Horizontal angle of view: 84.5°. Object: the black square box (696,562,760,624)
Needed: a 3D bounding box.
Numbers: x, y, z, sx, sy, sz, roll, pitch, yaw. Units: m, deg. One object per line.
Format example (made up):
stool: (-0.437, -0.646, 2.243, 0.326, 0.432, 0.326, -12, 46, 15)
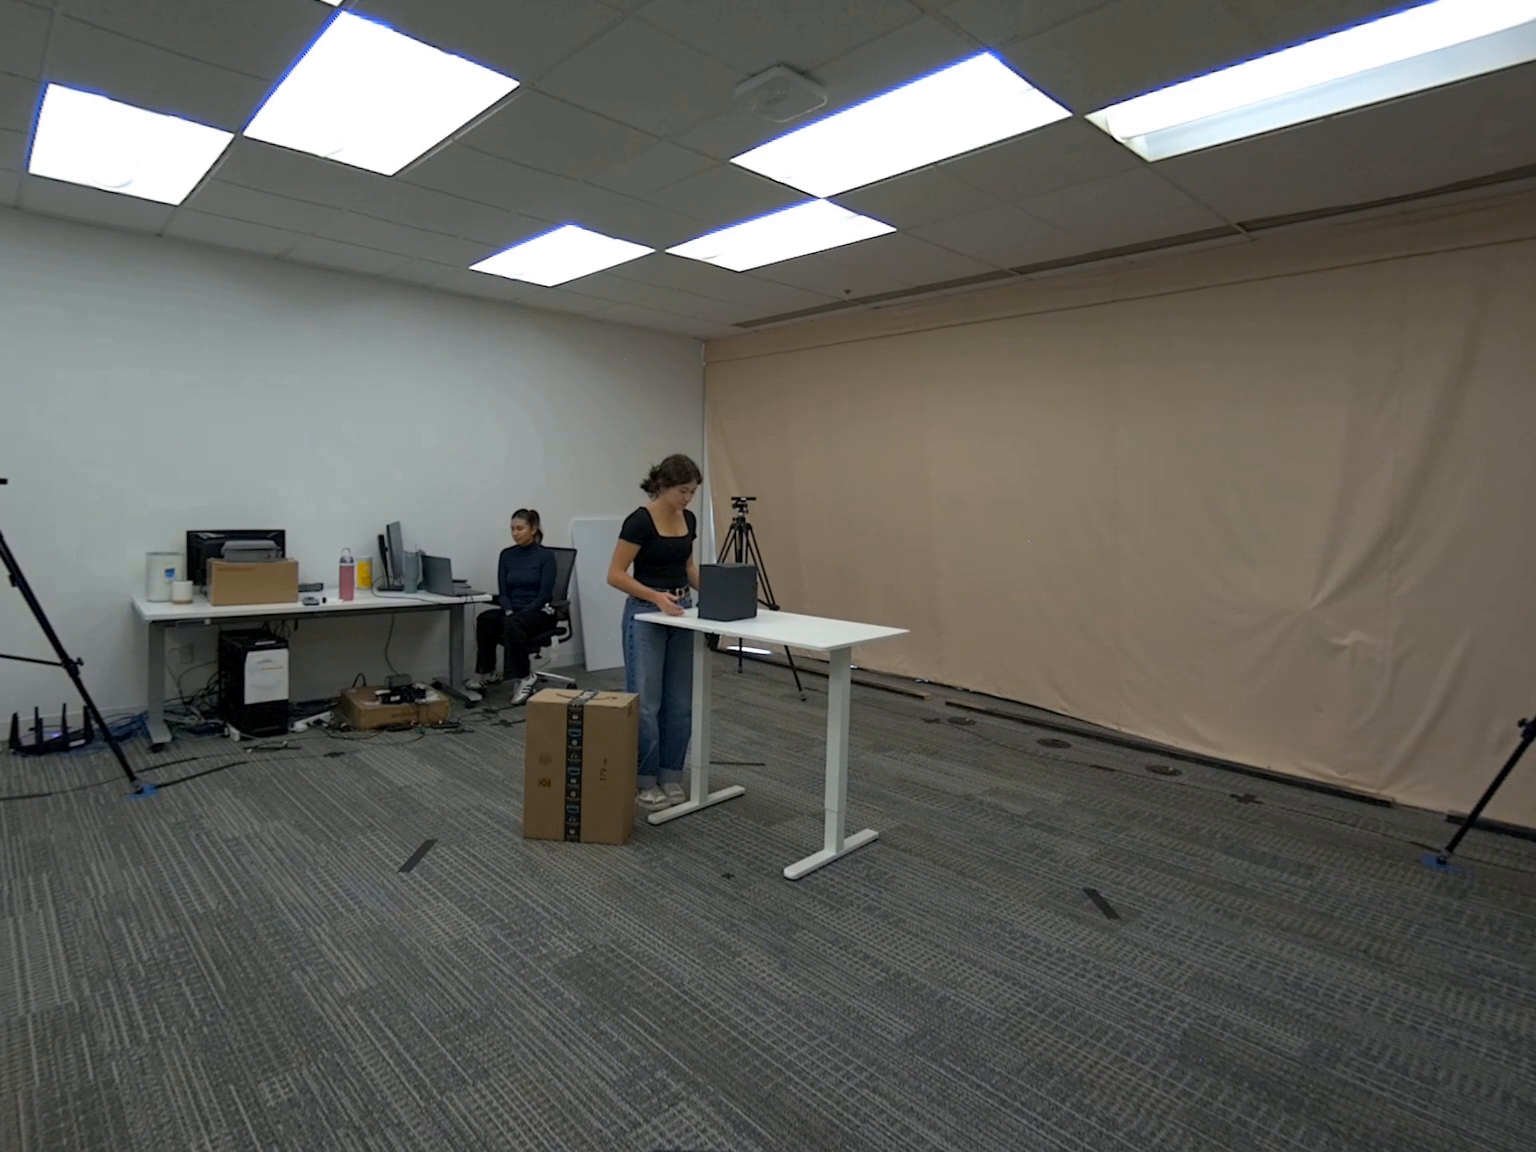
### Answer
black square box: (-0.171, 0.066, 3.588, 0.160, 0.227, 0.212, 5, 5, 36)
